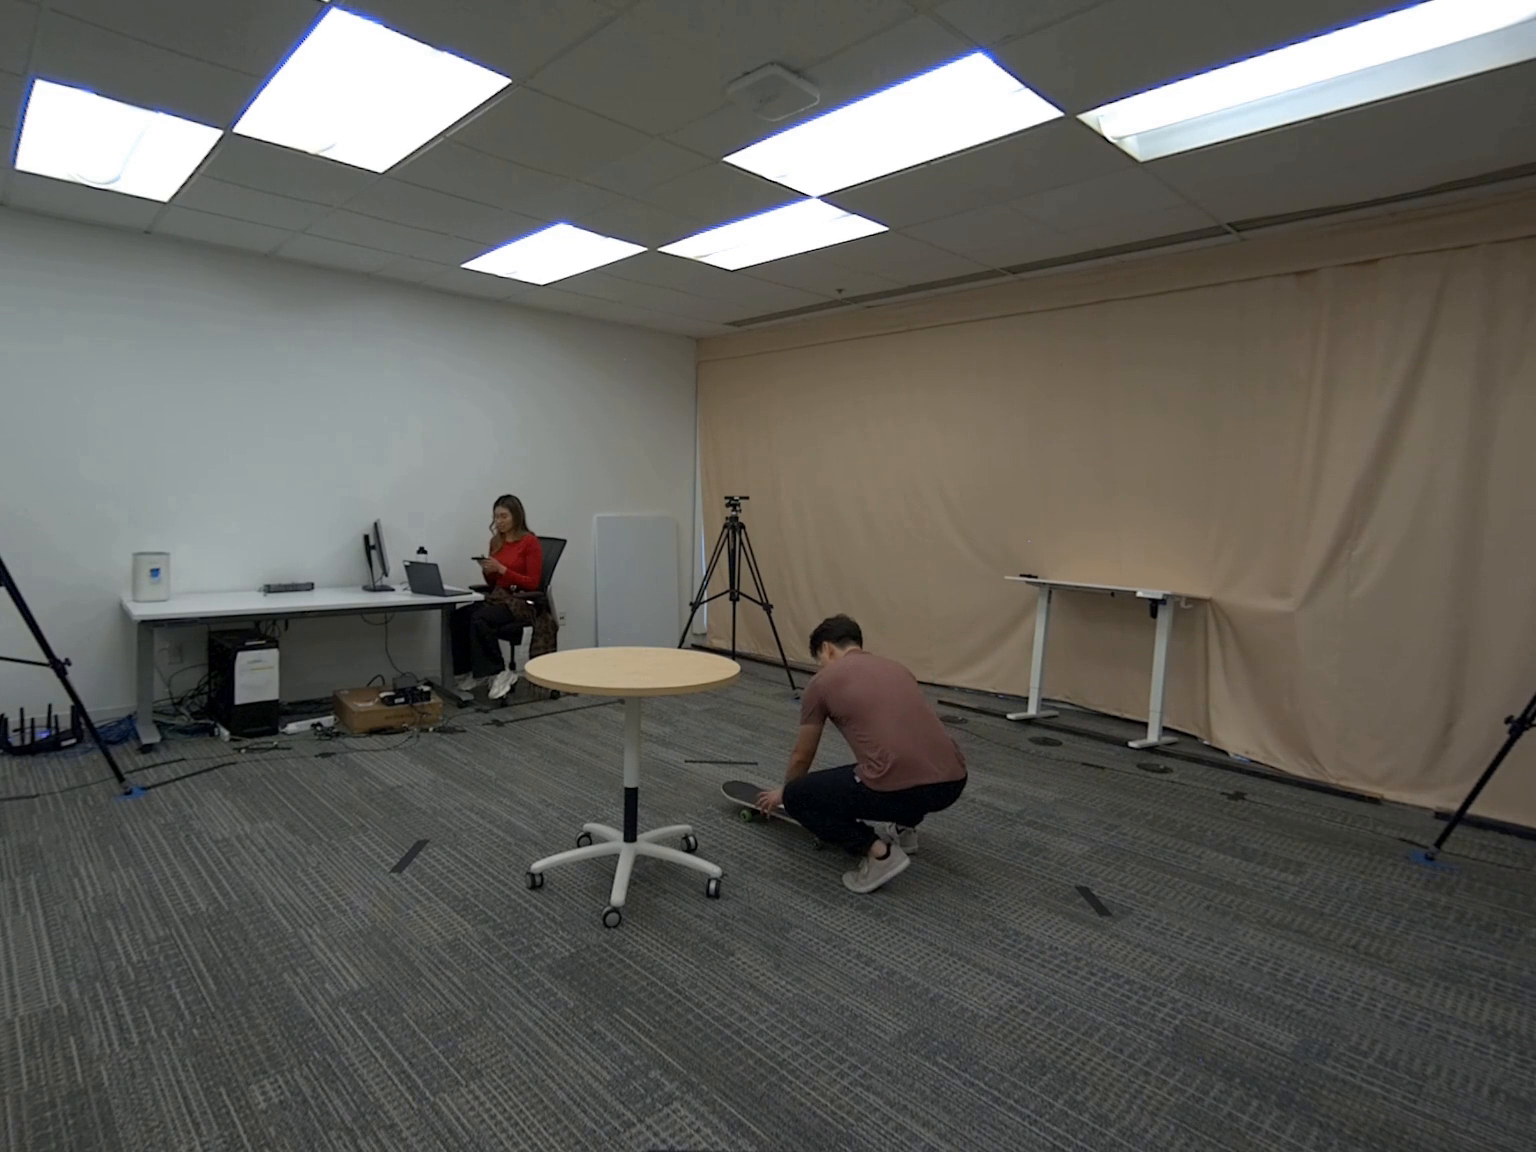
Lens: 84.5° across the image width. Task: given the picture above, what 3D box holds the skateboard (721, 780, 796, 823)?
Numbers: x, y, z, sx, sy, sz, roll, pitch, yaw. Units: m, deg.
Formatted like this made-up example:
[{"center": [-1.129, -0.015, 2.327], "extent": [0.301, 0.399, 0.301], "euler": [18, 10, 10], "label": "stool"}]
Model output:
[{"center": [0.101, 1.013, 3.545], "extent": [0.806, 0.110, 0.189], "euler": [6, 5, 44], "label": "skateboard"}]
